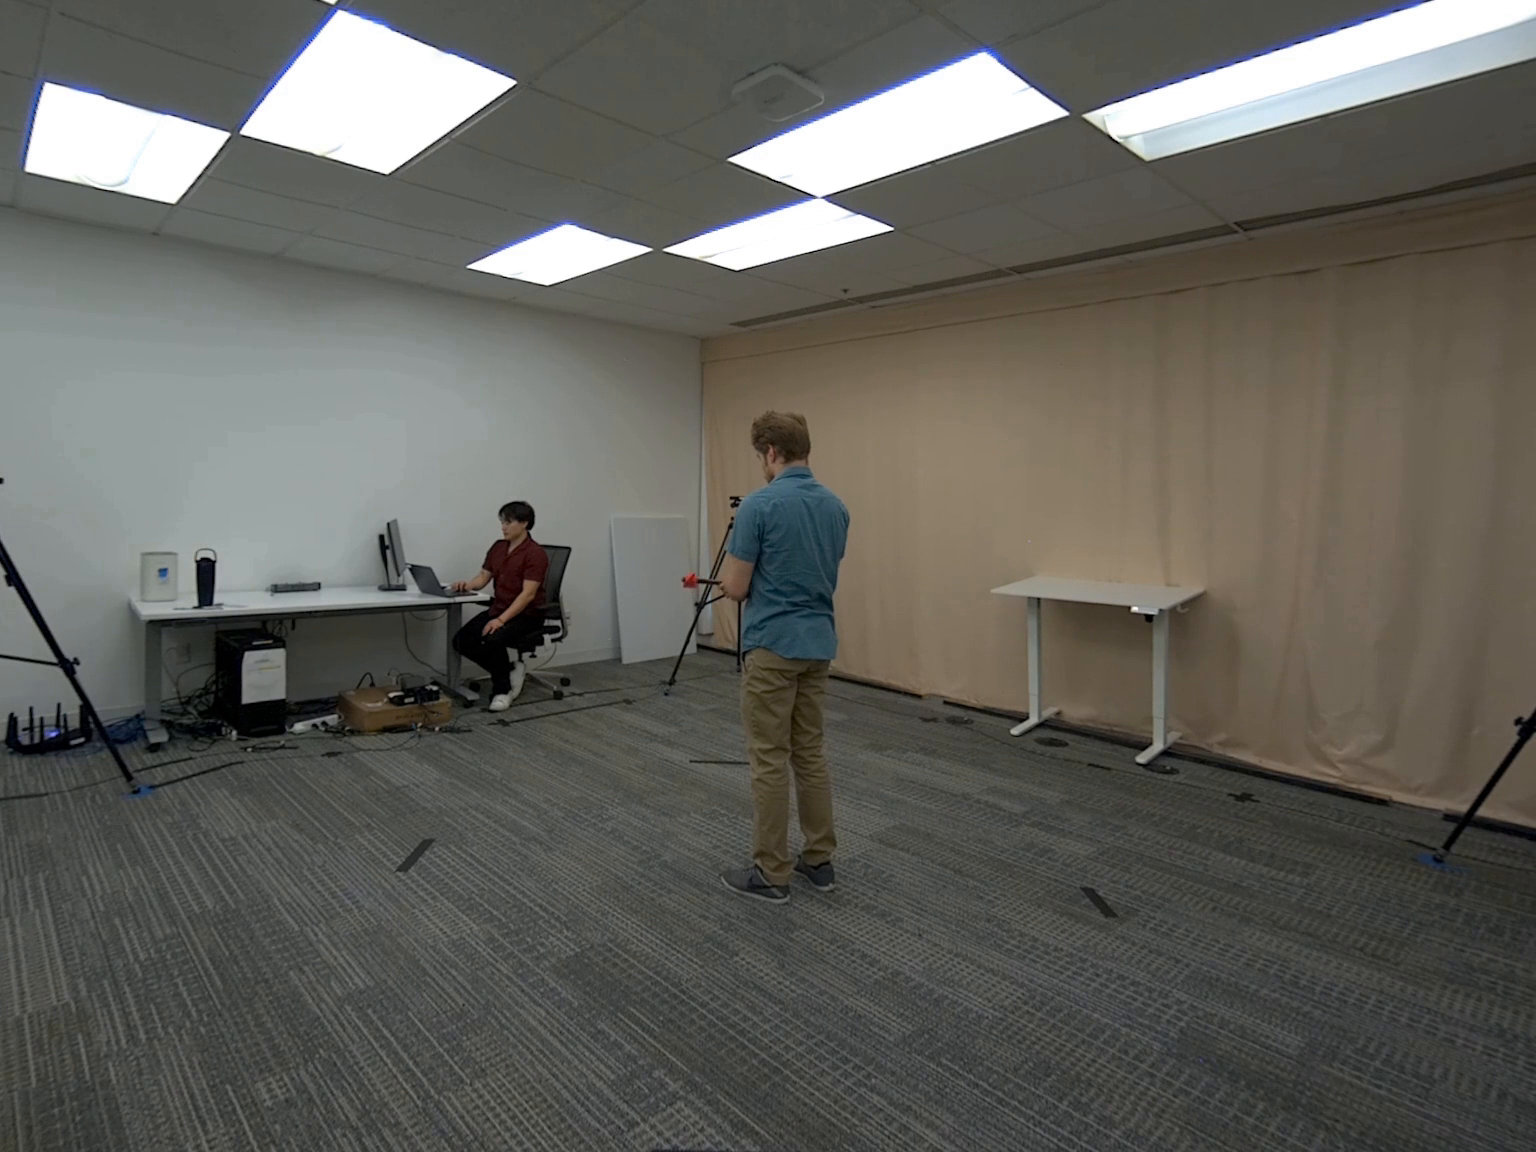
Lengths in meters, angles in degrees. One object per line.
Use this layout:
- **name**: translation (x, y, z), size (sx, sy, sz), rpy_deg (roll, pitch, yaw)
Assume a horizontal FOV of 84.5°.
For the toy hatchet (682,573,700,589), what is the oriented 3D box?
- **toy hatchet**: translation (-0.215, 0.037, 3.301), size (0.263, 0.030, 0.132), rpy_deg (14, -33, -34)
